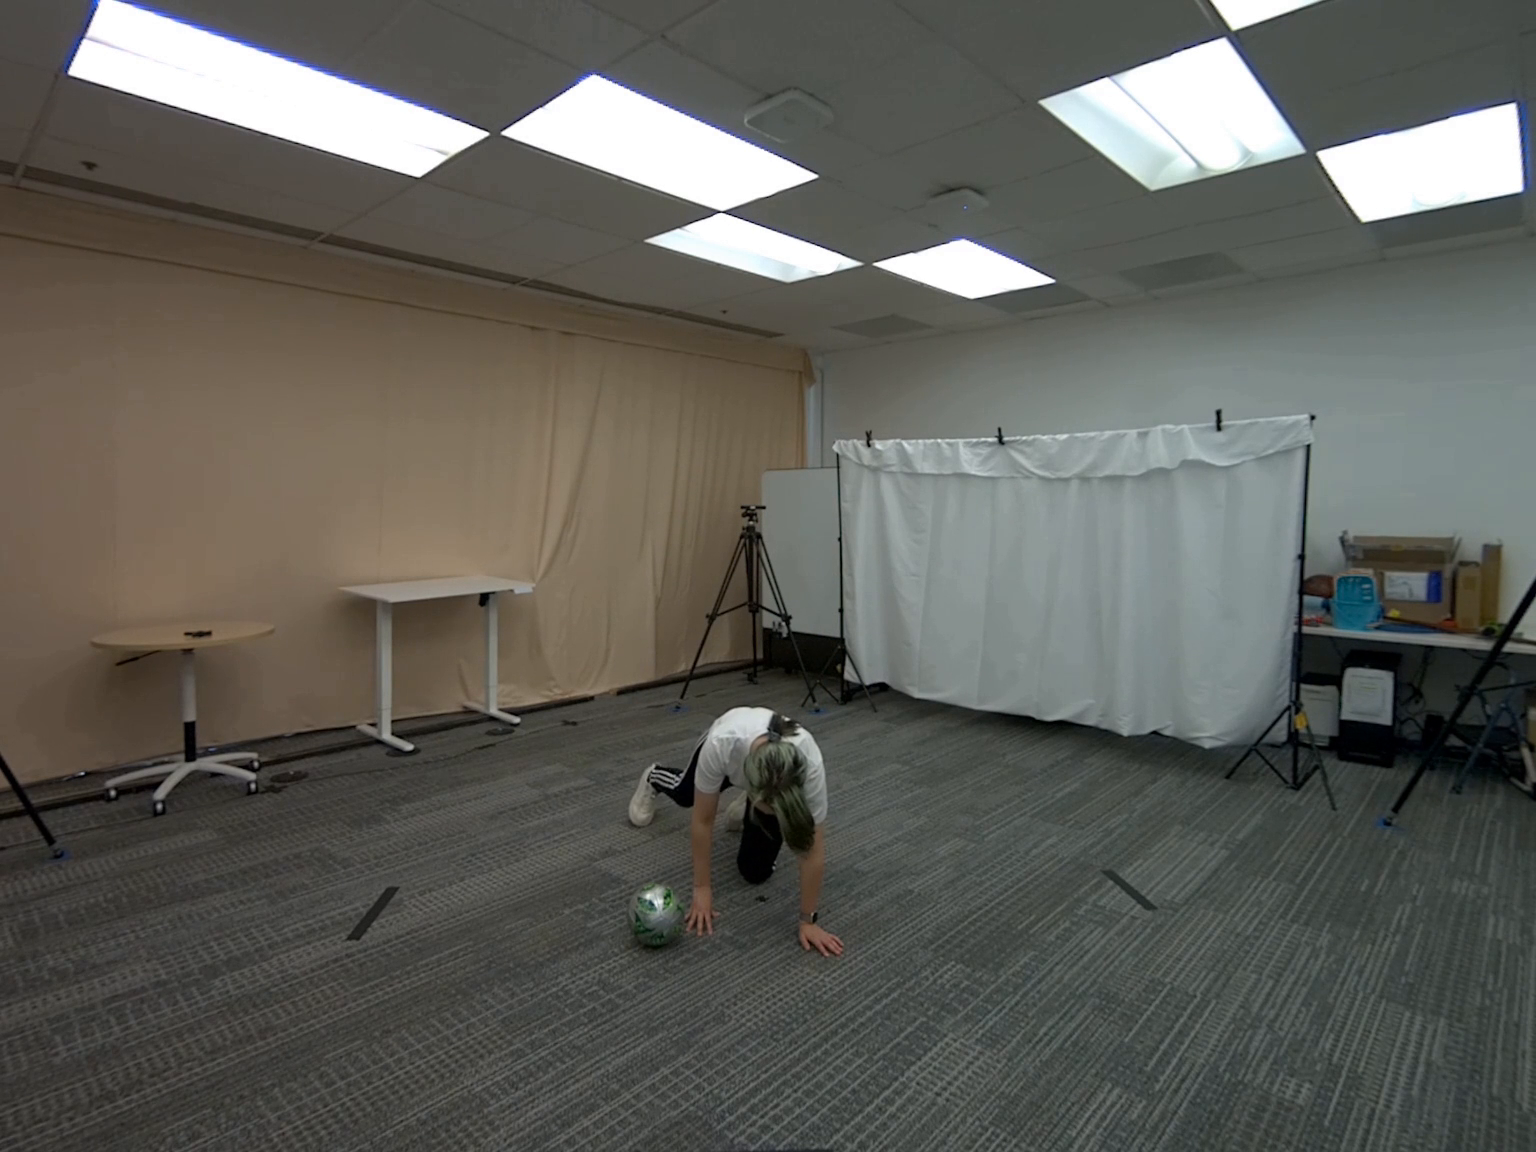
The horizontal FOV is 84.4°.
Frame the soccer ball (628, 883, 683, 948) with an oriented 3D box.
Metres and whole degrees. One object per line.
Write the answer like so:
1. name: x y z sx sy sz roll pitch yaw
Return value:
1. soccer ball: -0.368 1.076 2.686 0.187 0.187 0.188 0 4 -2
